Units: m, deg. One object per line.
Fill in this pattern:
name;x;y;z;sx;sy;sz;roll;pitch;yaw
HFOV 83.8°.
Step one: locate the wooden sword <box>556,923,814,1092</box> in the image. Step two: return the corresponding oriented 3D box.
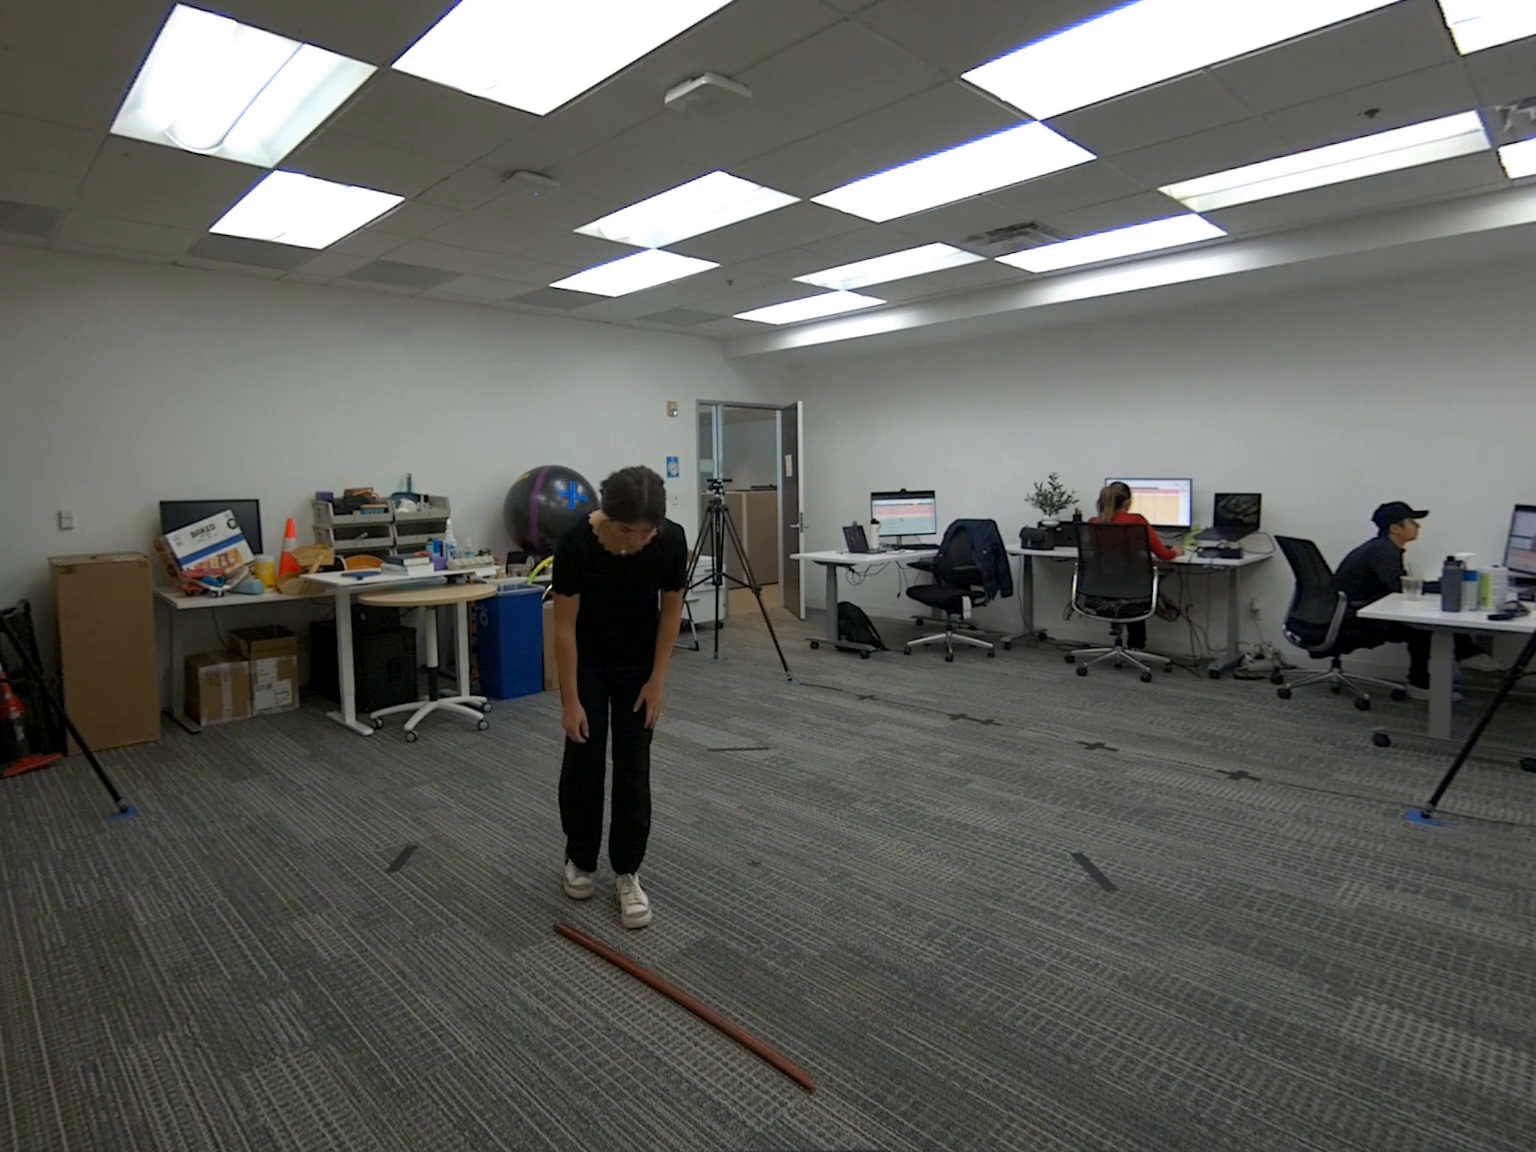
wooden sword;-0.239;1.115;2.322;1.057;0.024;0.049;5;-6;44
